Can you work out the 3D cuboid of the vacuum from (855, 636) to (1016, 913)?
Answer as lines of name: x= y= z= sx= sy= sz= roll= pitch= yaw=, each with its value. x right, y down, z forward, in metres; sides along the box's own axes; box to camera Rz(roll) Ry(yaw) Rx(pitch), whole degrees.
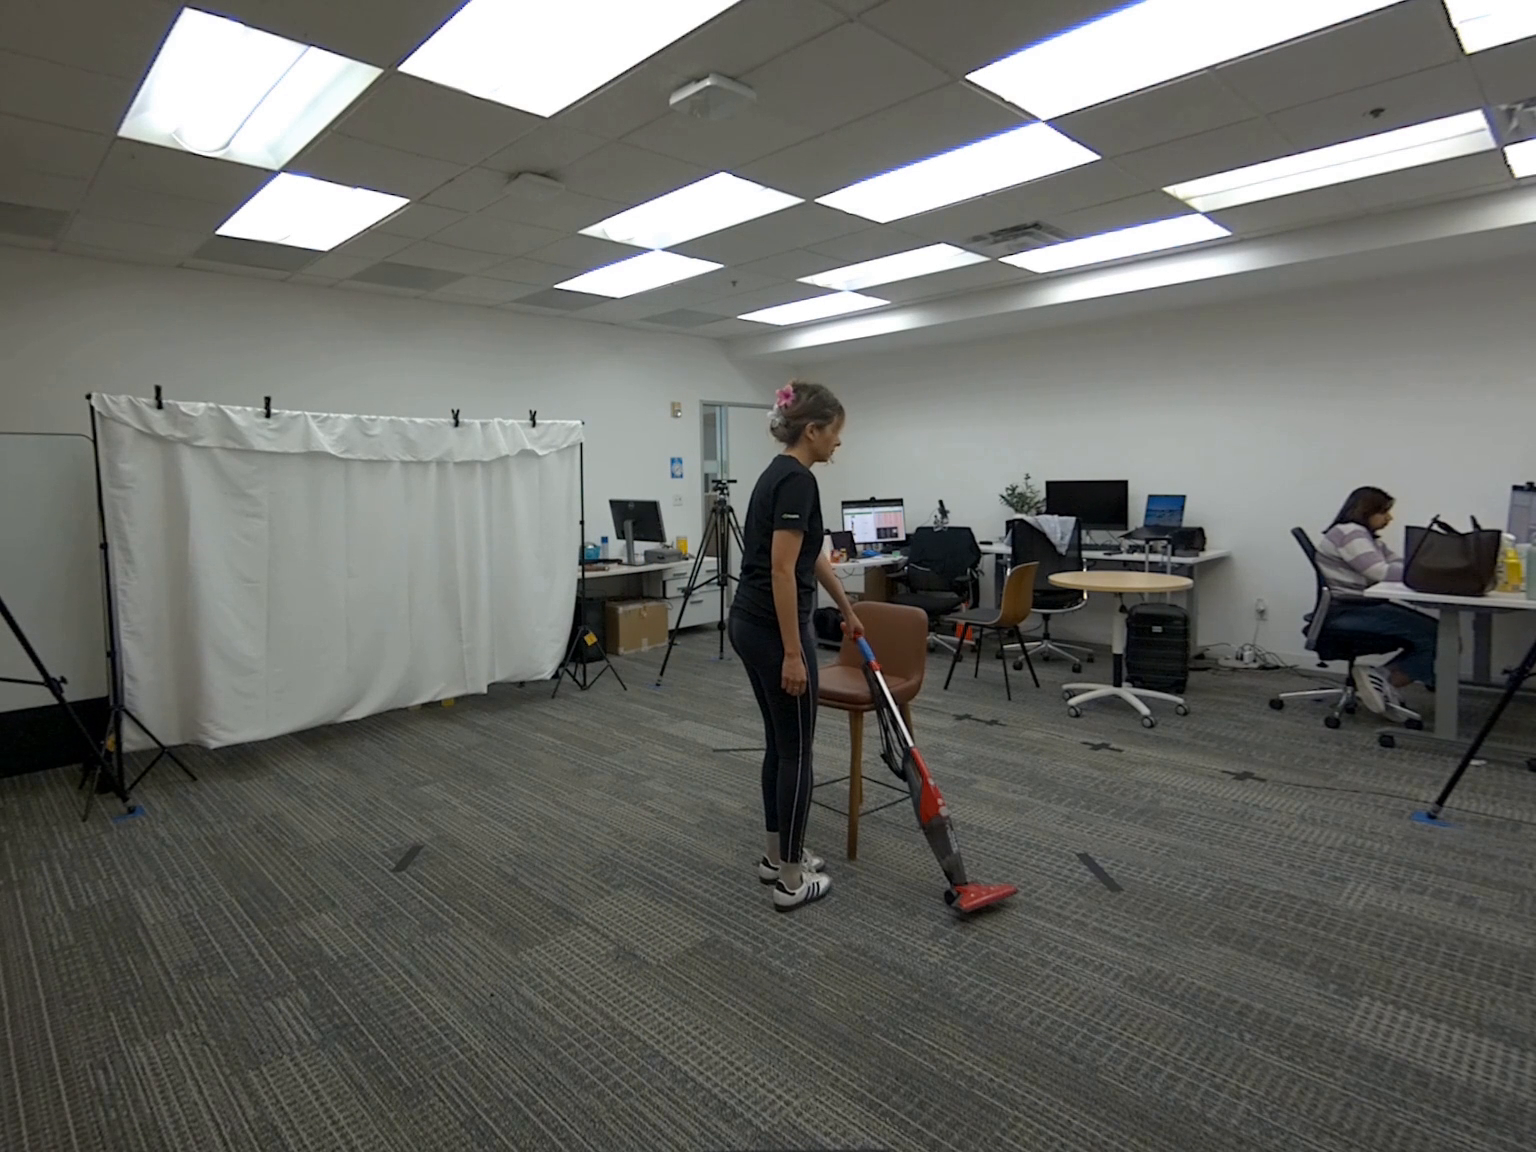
vacuum: x=0.485 y=0.622 z=3.021 sx=0.245 sy=1.082 sz=0.143 roll=-1 pitch=-37 yaw=-37
